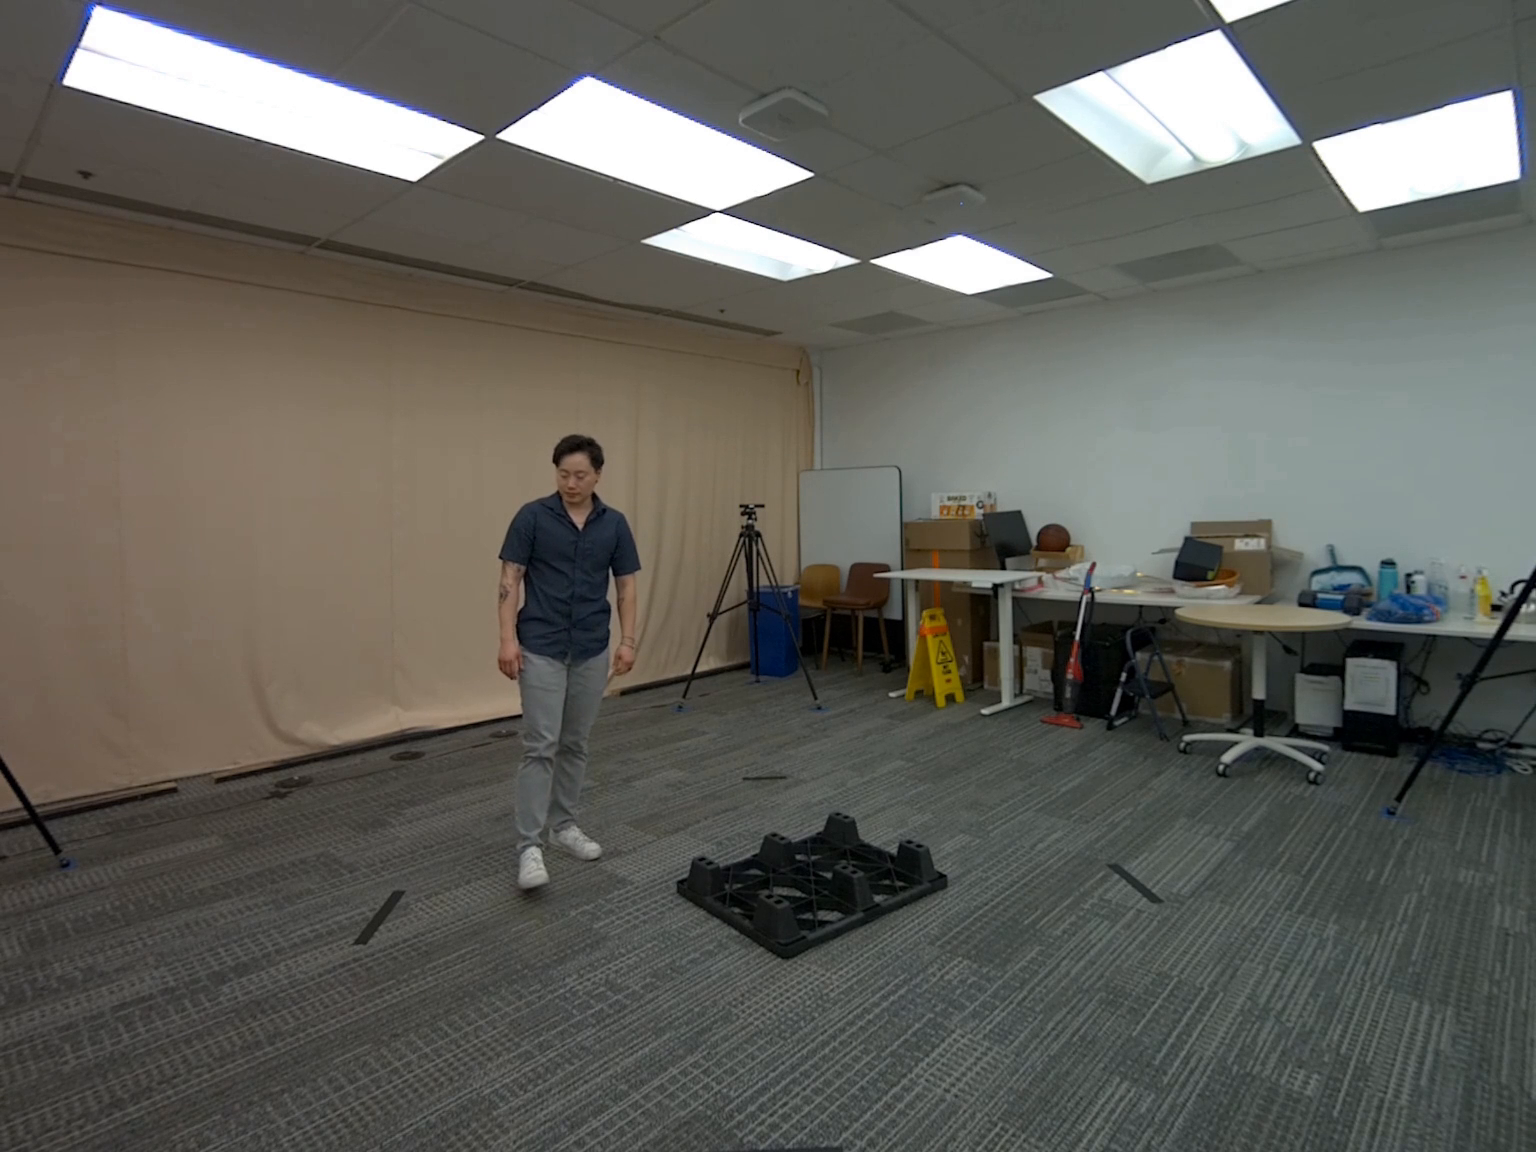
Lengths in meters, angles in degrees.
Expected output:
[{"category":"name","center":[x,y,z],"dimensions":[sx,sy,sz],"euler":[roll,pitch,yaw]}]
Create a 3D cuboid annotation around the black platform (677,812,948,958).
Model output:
[{"category":"black platform","center":[0.163,1.066,3.031],"dimensions":[0.782,0.143,0.625],"euler":[-6,6,-39]}]
